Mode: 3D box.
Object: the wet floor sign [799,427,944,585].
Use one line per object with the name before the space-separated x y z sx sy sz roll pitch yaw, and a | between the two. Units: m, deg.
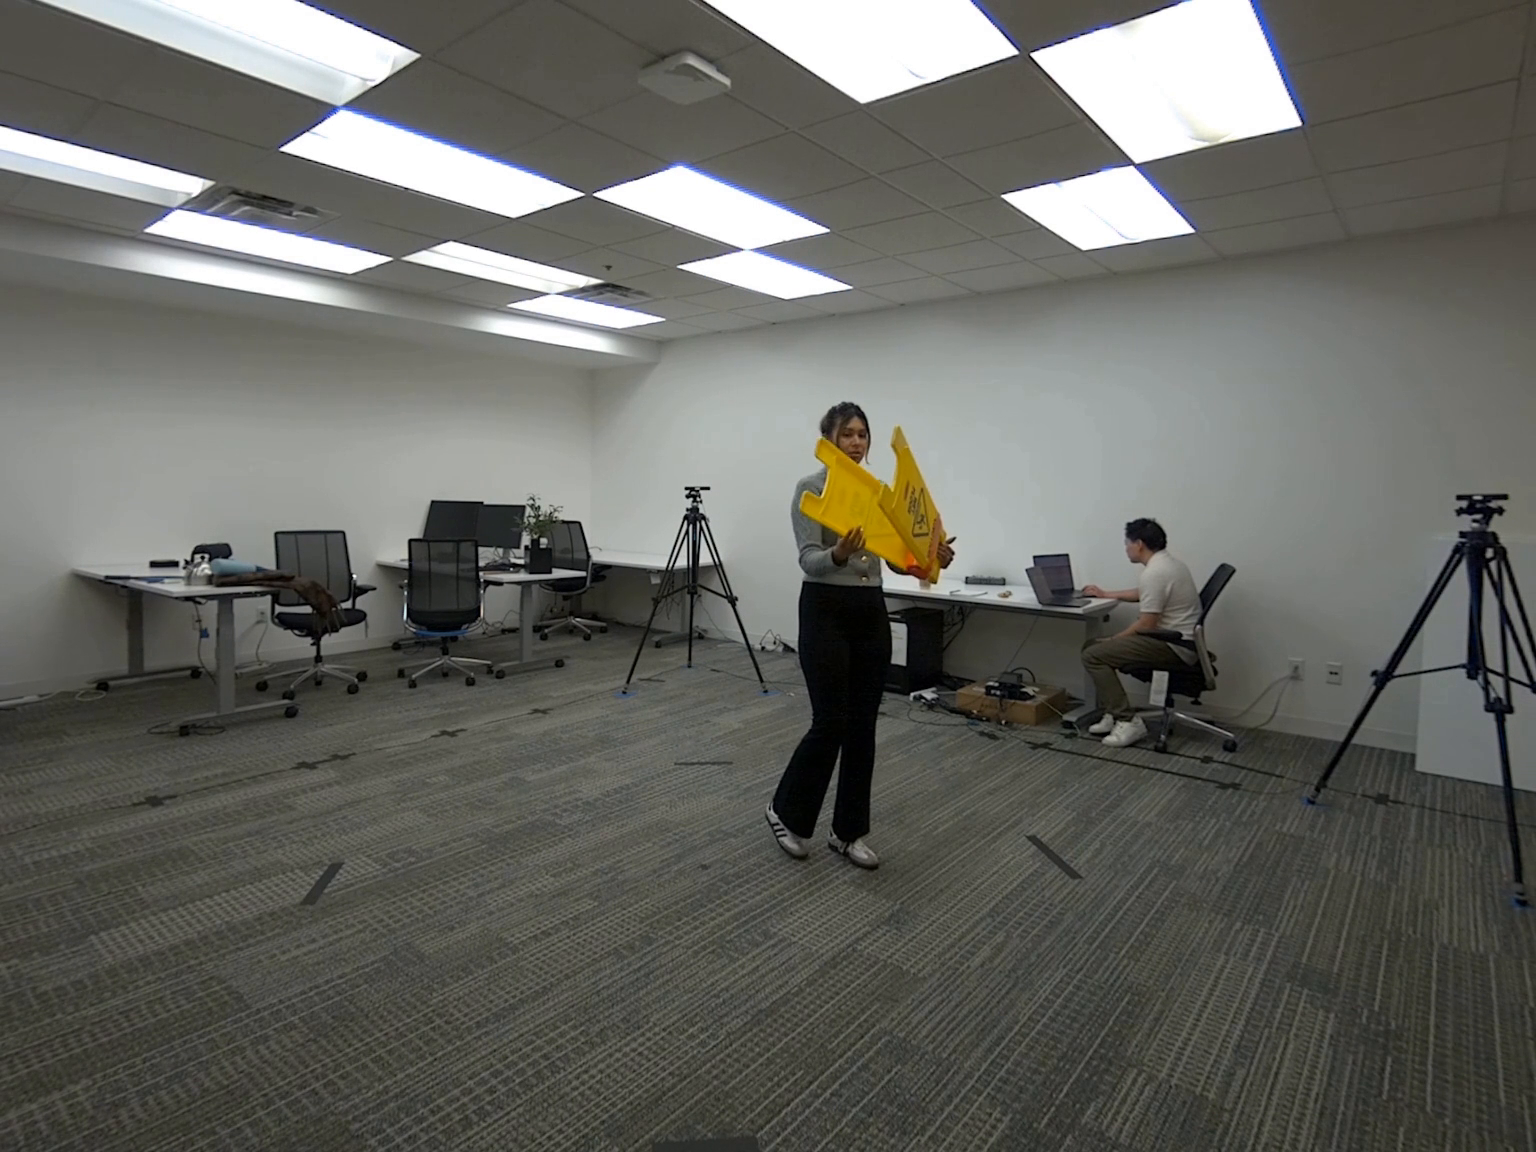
wet floor sign | 0.423 -0.193 2.824 0.298 0.286 0.619 -3 -29 42
